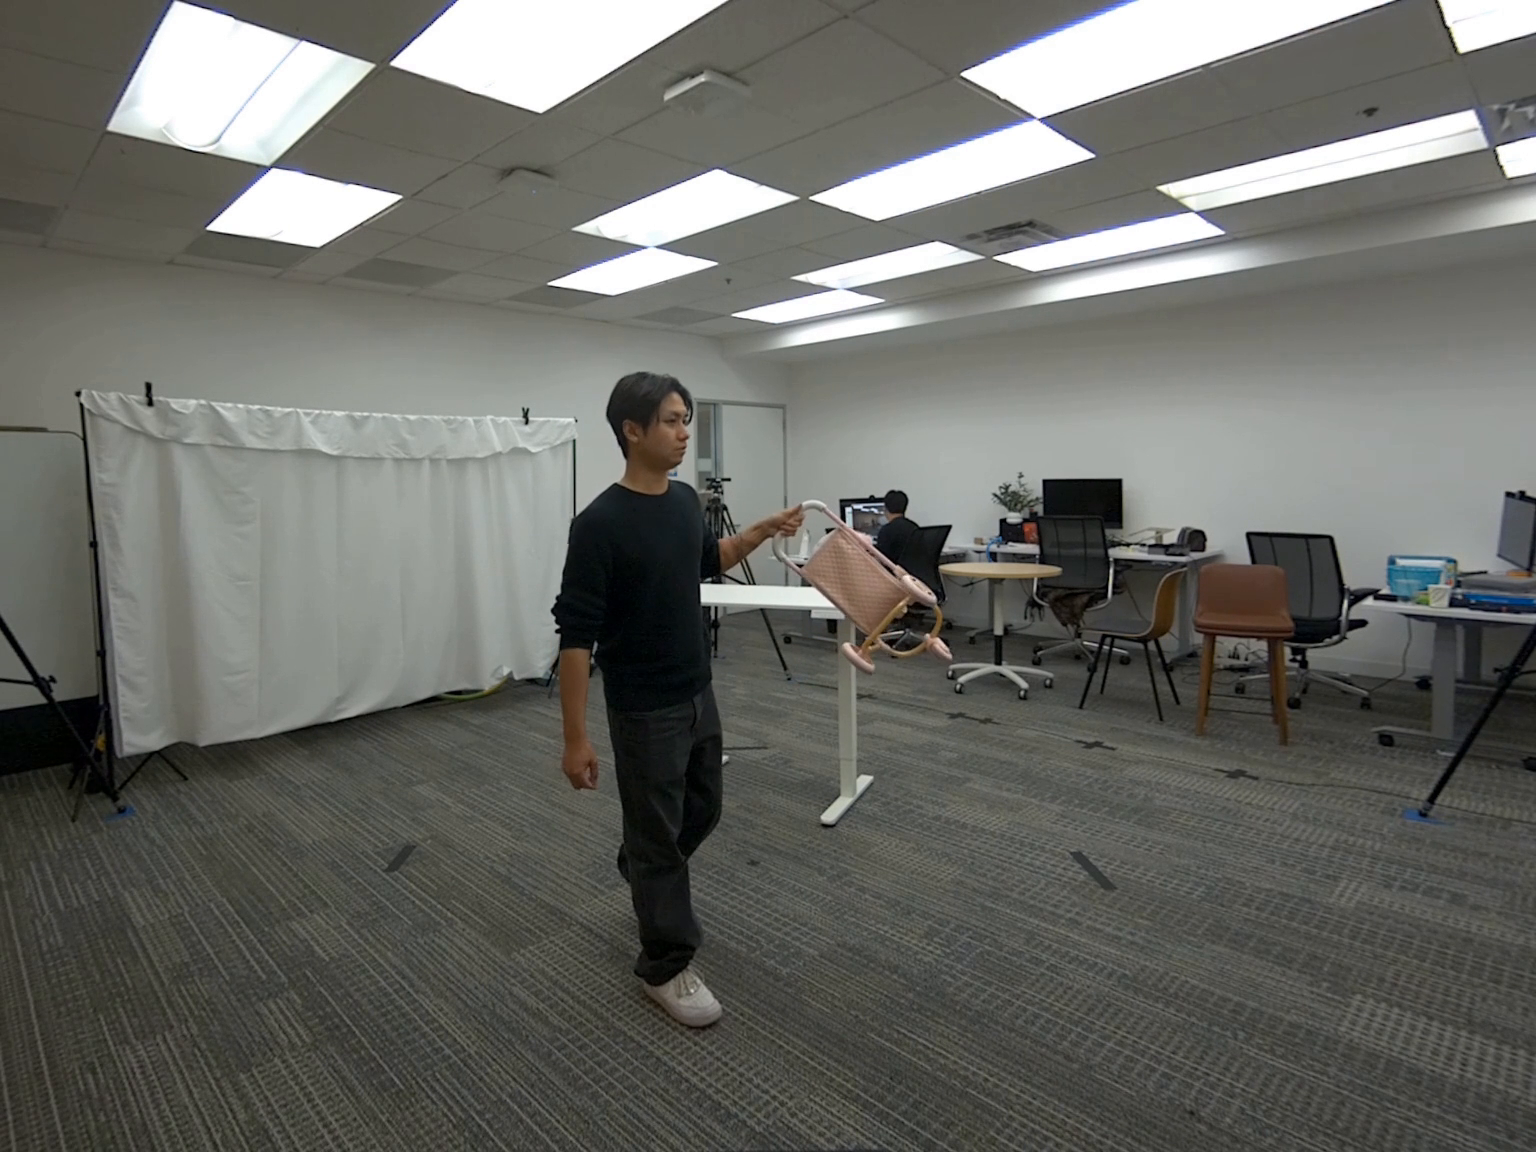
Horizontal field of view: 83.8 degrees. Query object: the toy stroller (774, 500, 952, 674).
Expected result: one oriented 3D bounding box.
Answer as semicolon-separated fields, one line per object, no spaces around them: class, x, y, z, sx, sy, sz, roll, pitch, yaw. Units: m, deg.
toy stroller;0.286;0.038;2.475;0.554;0.281;0.330;48;18;31
